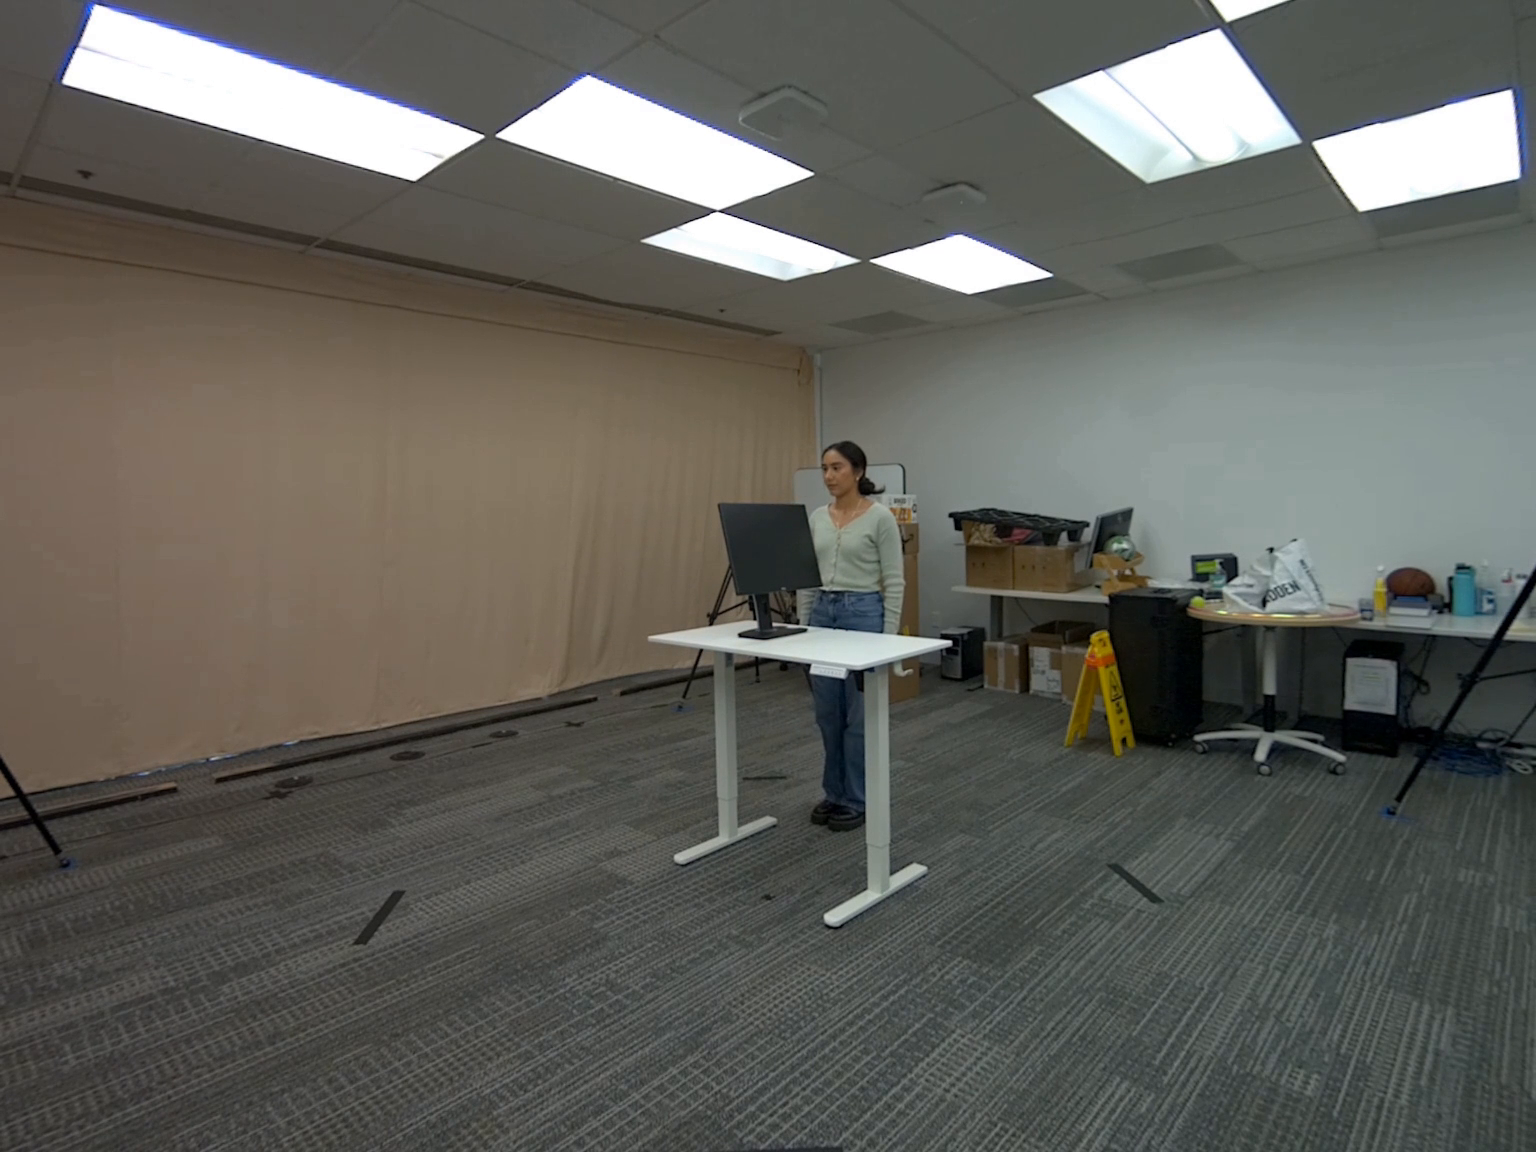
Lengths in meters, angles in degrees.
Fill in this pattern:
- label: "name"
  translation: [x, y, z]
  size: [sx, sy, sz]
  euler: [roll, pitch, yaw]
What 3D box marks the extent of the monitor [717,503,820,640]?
- label: "monitor"
  translation: [0.008, -0.027, 3.306]
  size: [0.180, 0.515, 0.514]
  euler: [4, 4, 39]
